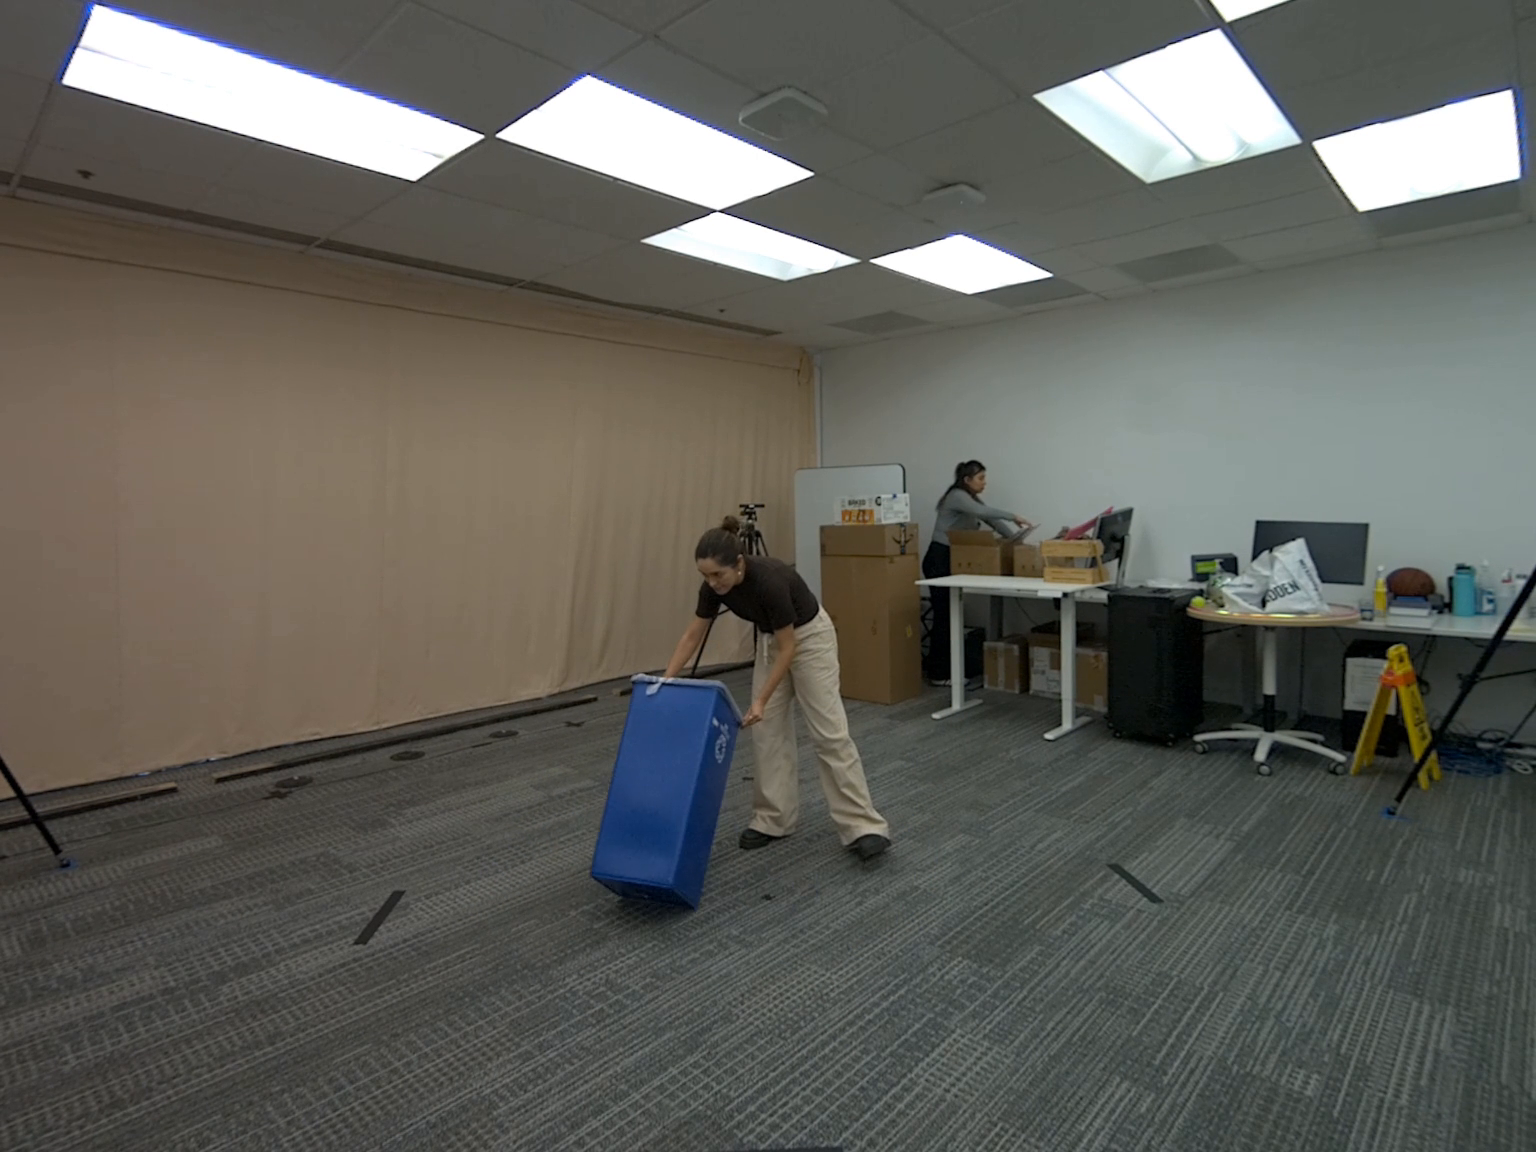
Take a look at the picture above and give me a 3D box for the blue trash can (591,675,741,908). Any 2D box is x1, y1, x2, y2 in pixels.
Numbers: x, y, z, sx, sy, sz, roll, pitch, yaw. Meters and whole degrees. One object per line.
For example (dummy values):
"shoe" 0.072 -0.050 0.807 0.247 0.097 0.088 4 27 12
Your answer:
"blue trash can" -0.356 0.771 3.036 0.385 0.720 0.363 1 -32 17
